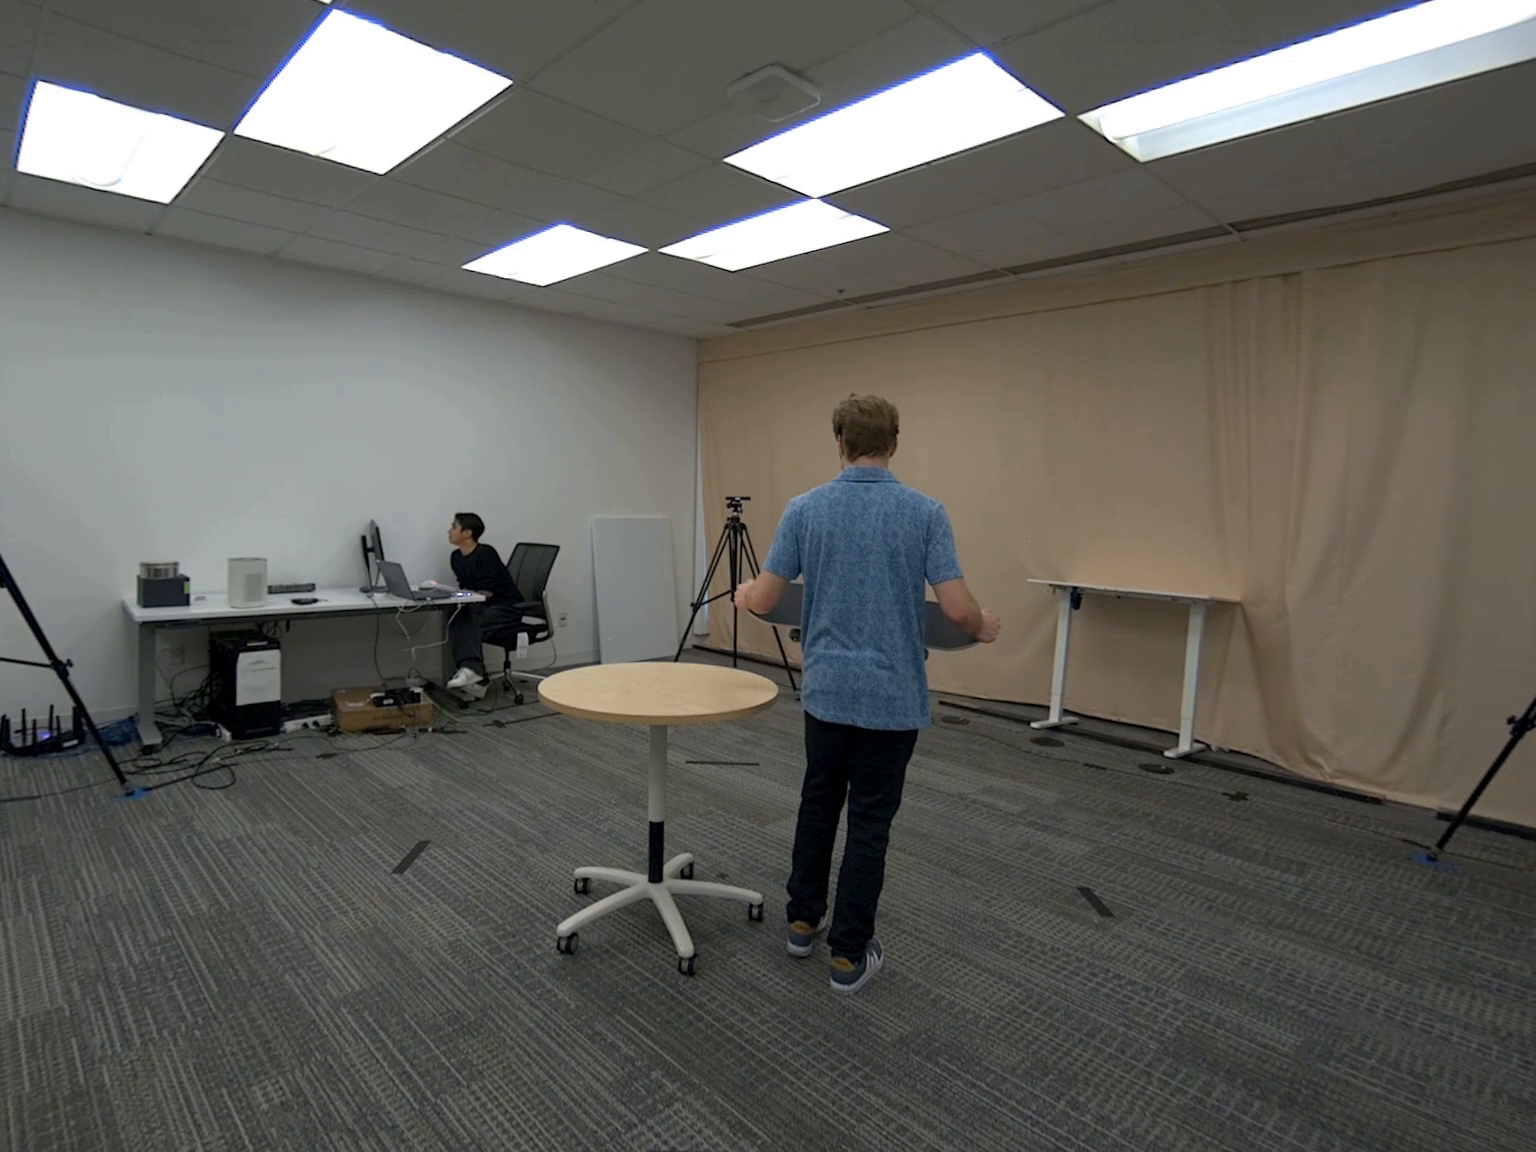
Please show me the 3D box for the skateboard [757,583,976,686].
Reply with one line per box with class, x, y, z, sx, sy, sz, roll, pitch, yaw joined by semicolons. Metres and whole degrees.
skateboard;0.311;0.154;2.718;0.797;0.107;0.195;7;46;17
